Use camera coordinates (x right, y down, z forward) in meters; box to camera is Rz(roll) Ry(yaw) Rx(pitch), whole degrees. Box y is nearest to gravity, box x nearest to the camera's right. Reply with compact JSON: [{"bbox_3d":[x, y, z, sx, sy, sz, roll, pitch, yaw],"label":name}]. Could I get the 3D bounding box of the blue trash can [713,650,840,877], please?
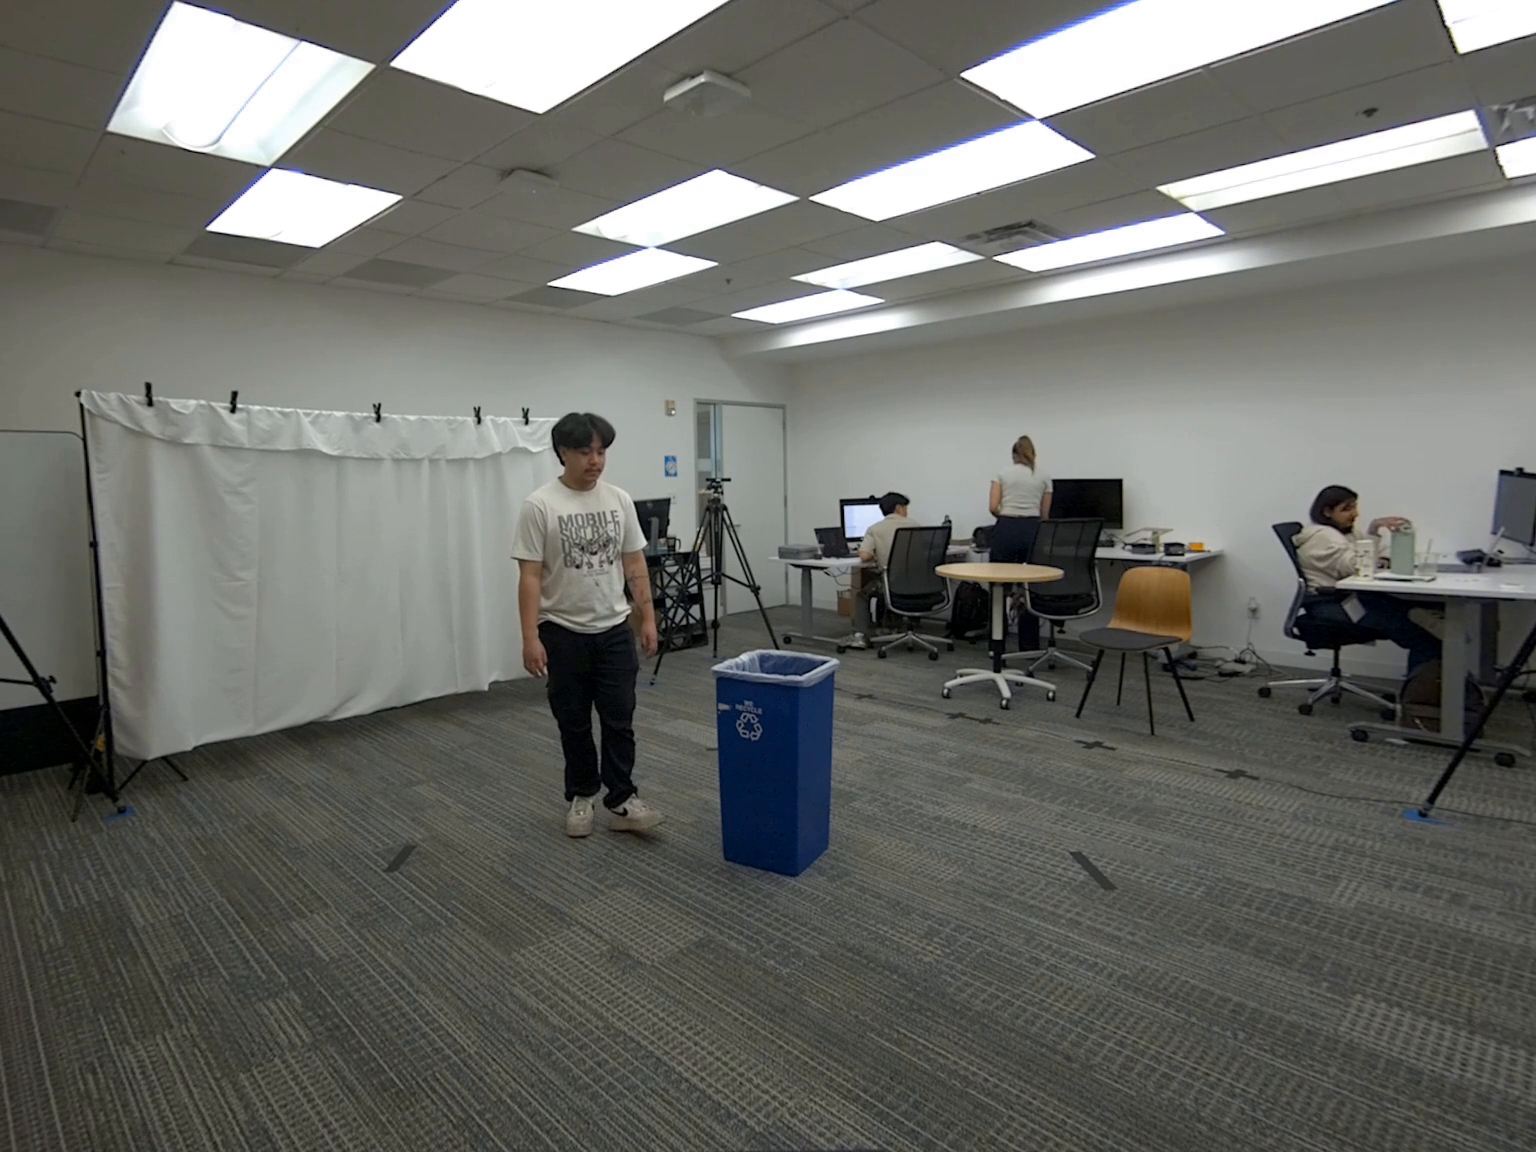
[{"bbox_3d":[0.039,0.675,3.159,0.383,0.711,0.370,1,5,28],"label":"blue trash can"}]
